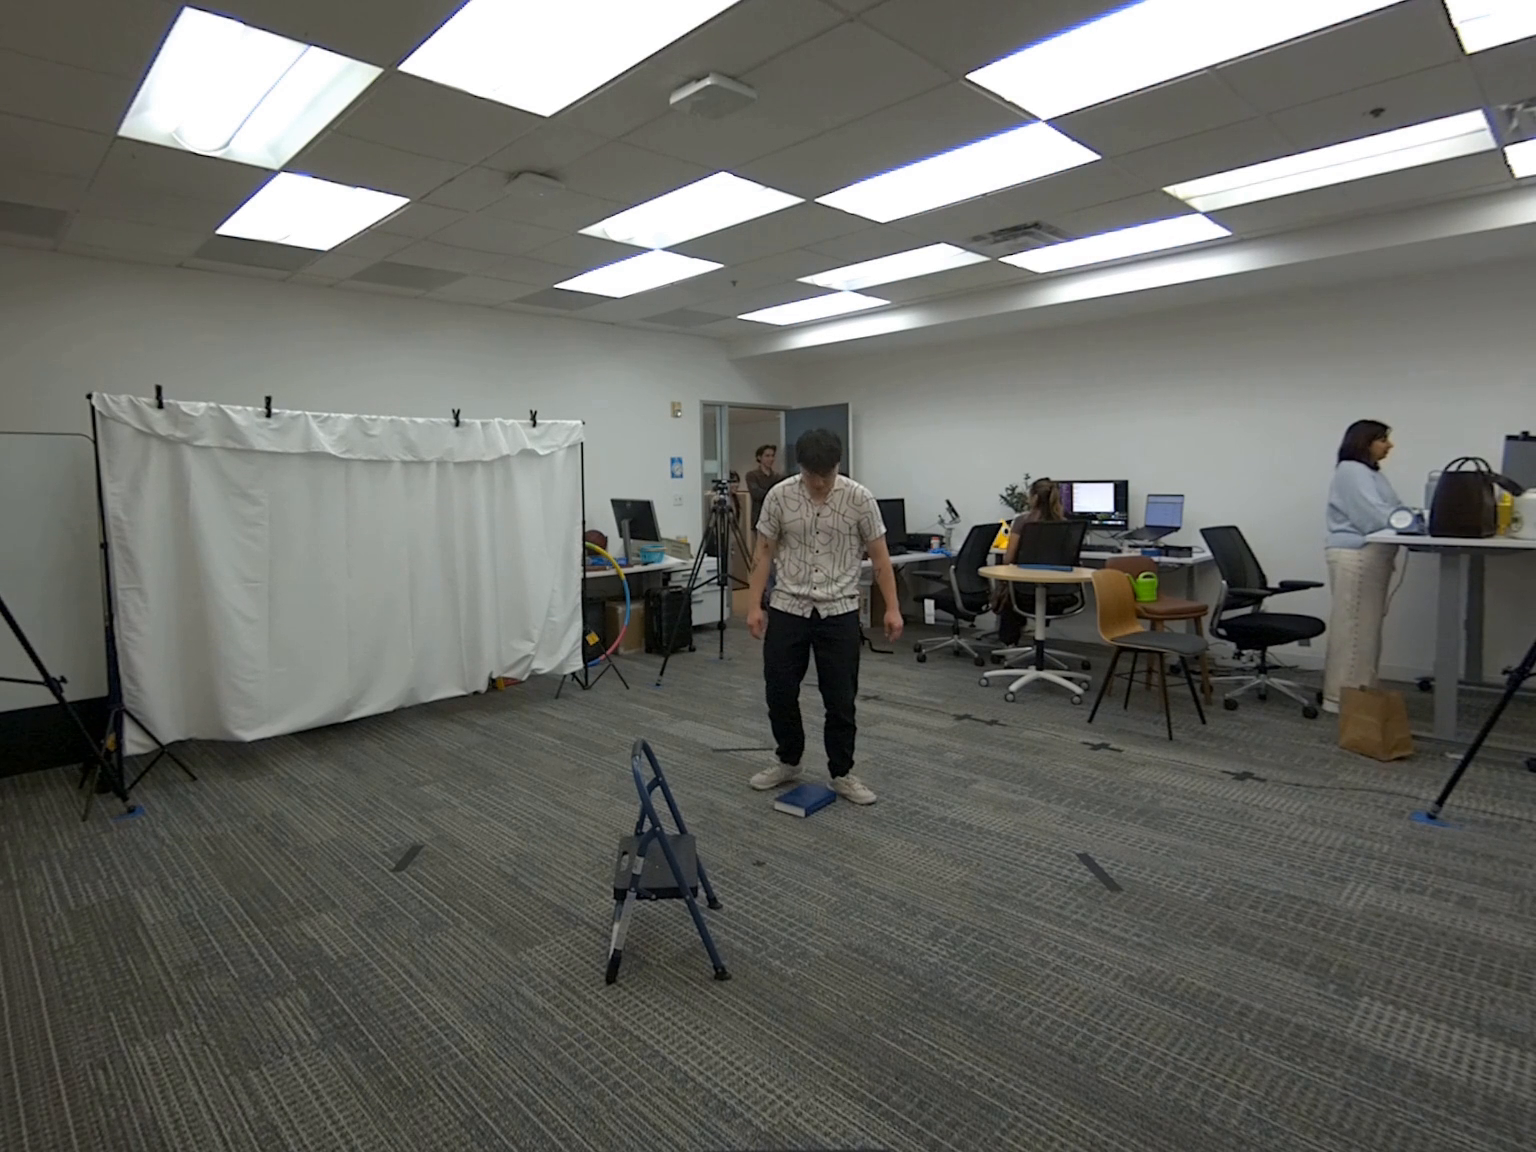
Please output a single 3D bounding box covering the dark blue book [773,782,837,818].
[{"bbox_3d":[0.159,0.960,3.660,0.168,0.045,0.239,4,8,38],"label":"dark blue book"}]
